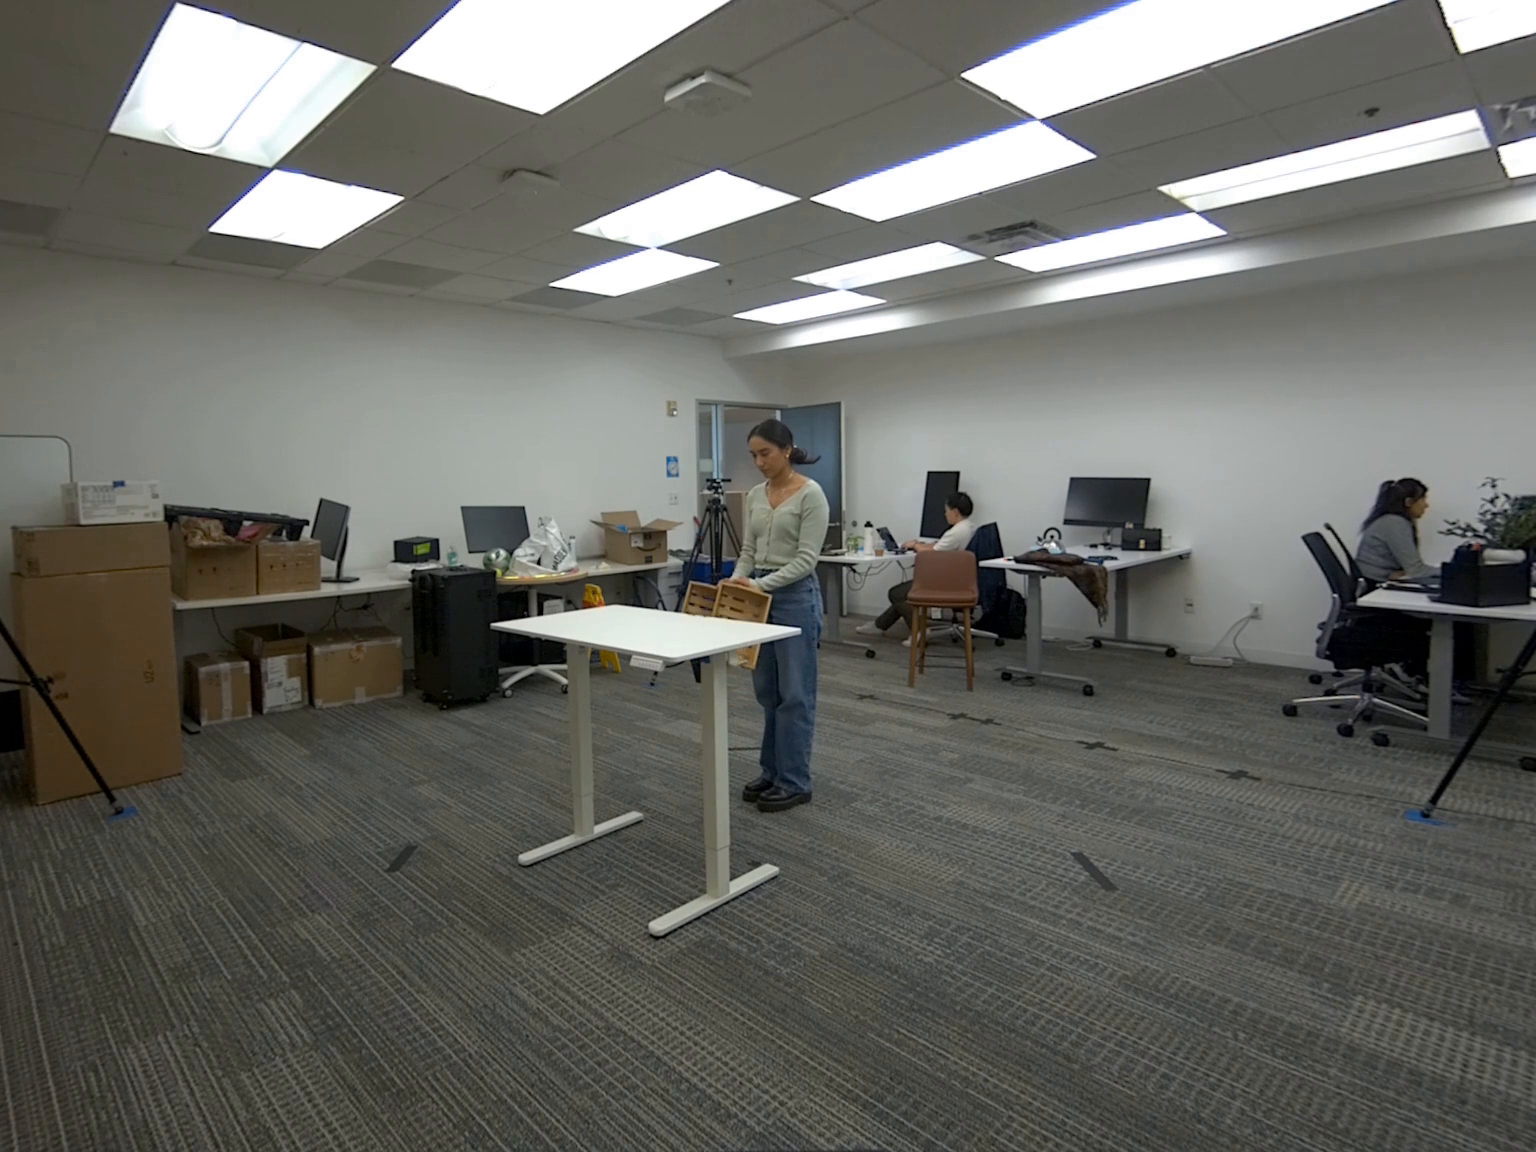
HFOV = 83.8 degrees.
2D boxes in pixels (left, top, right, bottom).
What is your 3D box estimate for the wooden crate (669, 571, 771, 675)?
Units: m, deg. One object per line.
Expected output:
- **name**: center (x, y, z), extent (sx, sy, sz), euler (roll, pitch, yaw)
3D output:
- **wooden crate**: center (-0.186, 0.196, 3.464), extent (0.297, 0.327, 0.275), euler (17, -14, -14)
